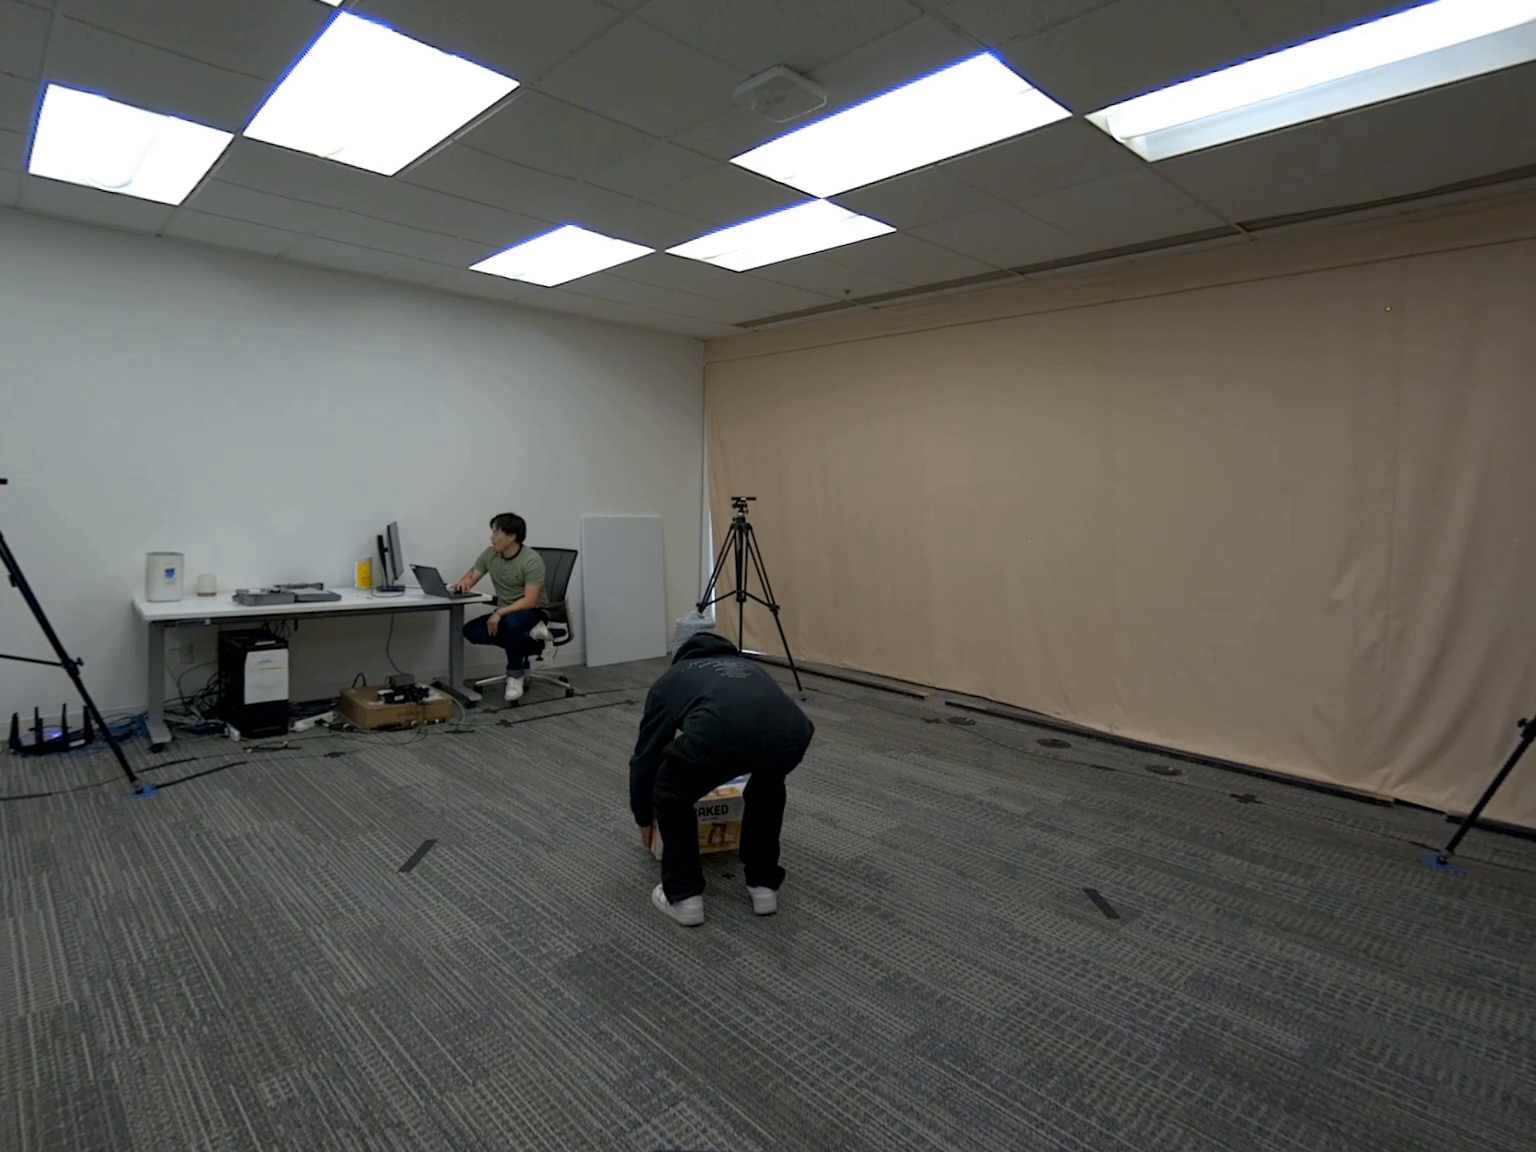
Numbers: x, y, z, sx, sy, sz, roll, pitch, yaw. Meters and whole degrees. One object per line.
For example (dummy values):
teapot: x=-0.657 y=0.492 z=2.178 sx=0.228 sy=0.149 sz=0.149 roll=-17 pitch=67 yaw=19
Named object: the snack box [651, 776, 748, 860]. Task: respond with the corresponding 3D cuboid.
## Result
snack box: x=-0.276 y=0.918 z=3.272 sx=0.399 sy=0.205 sz=0.346 roll=-1 pitch=3 yaw=-19
